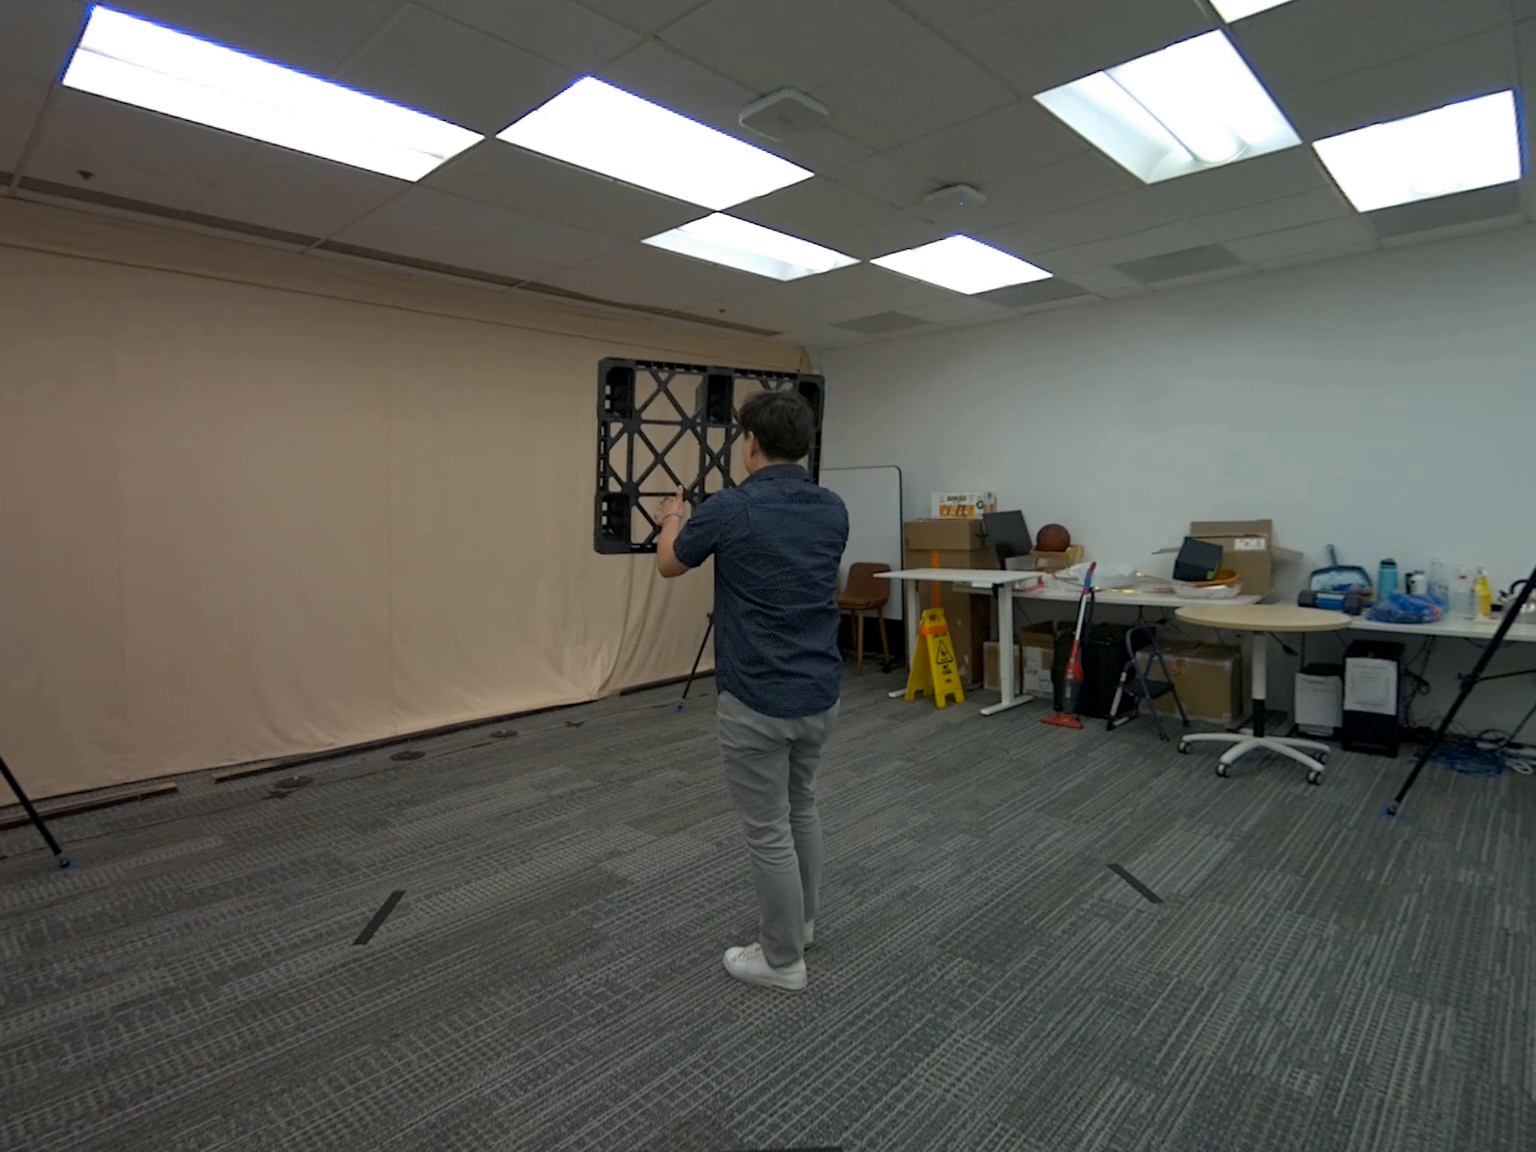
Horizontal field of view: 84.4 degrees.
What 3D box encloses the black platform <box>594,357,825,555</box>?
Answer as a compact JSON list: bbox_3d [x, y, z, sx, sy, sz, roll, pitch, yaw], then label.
[{"bbox_3d":[-0.192,-0.386,2.777,0.785,0.603,0.147,-1,7,-27],"label":"black platform"}]
